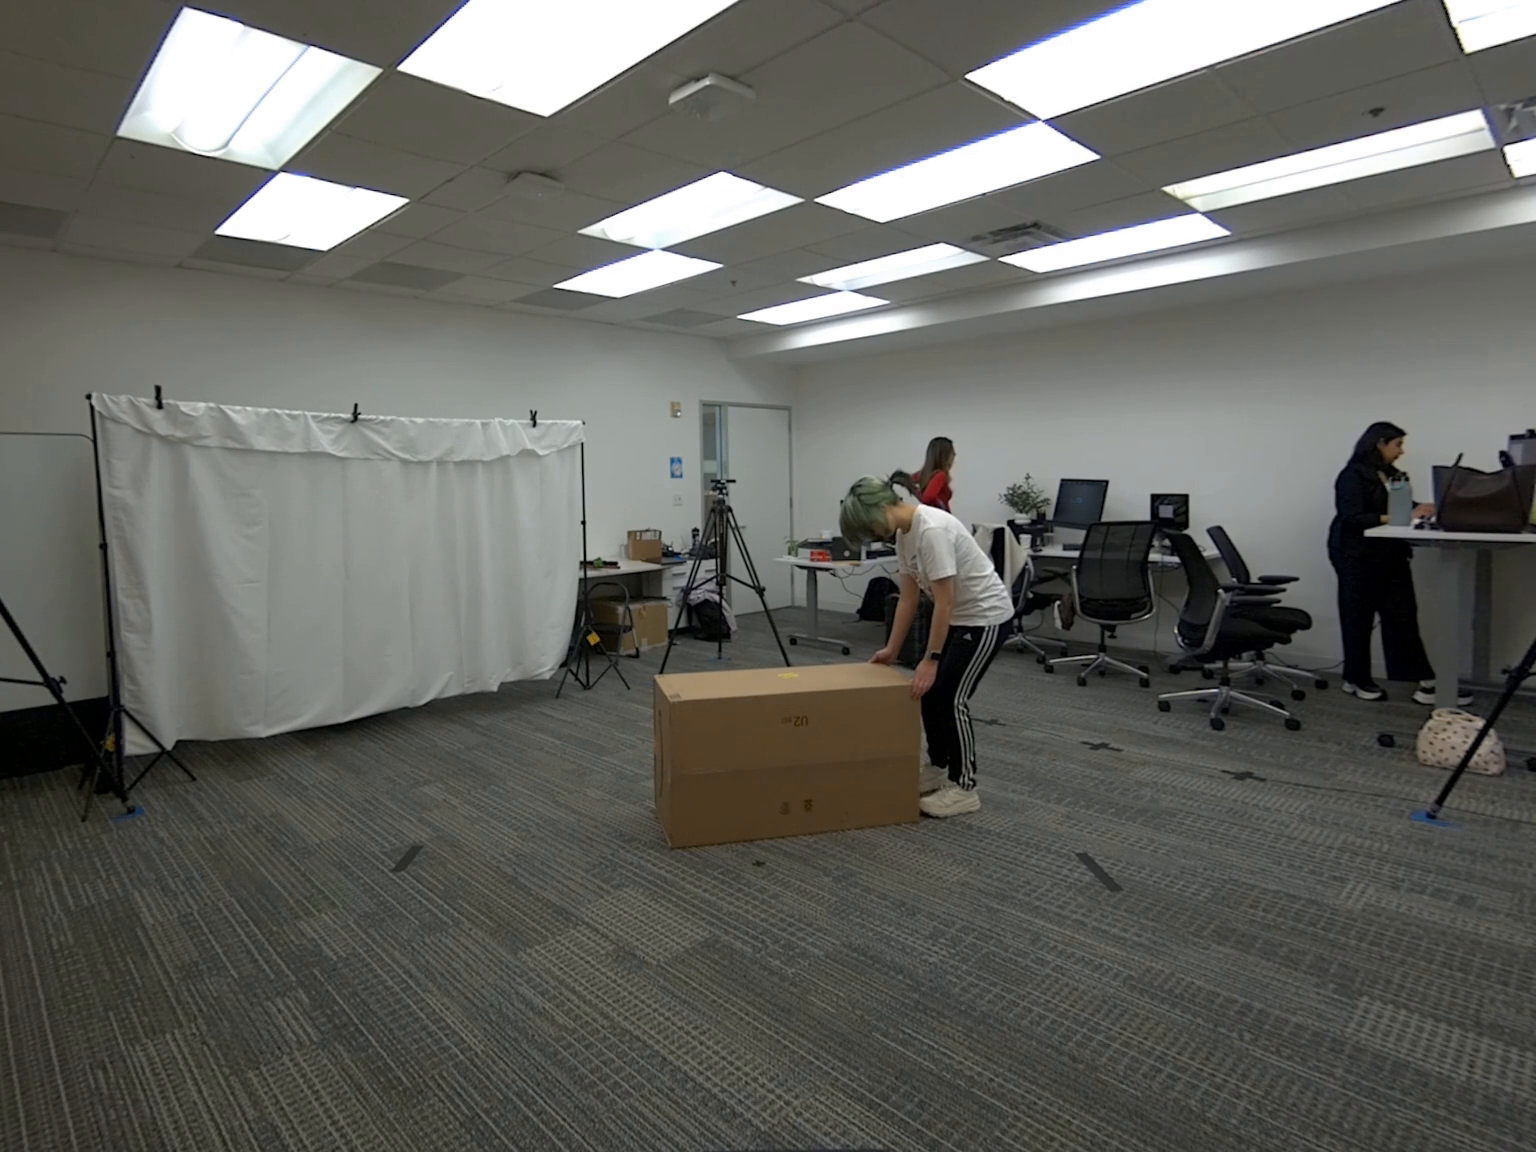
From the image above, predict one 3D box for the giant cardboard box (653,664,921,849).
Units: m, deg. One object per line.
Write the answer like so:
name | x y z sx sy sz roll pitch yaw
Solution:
giant cardboard box | 0.061 0.709 3.532 1.014 0.582 0.454 -2 4 -14
